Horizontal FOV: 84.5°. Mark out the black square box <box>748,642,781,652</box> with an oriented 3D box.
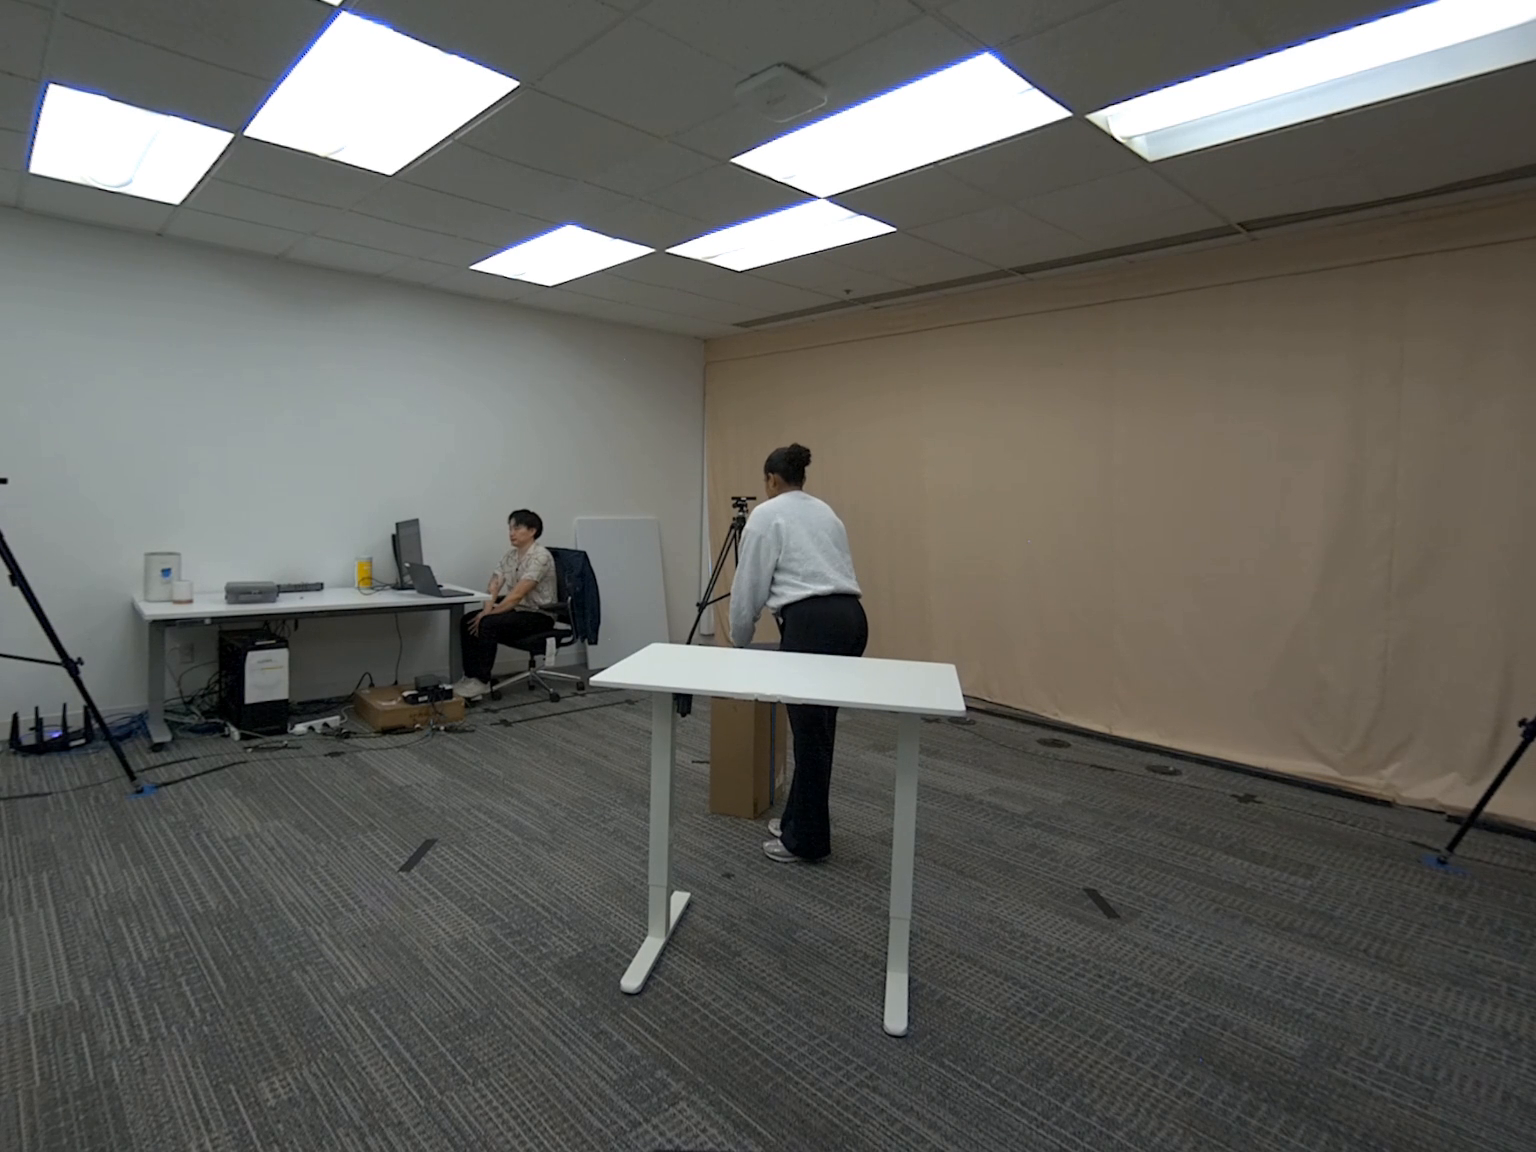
[{"bbox_3d":[-0.029,0.401,3.863,0.225,0.155,0.220,1,4,-13],"label":"black square box"}]
